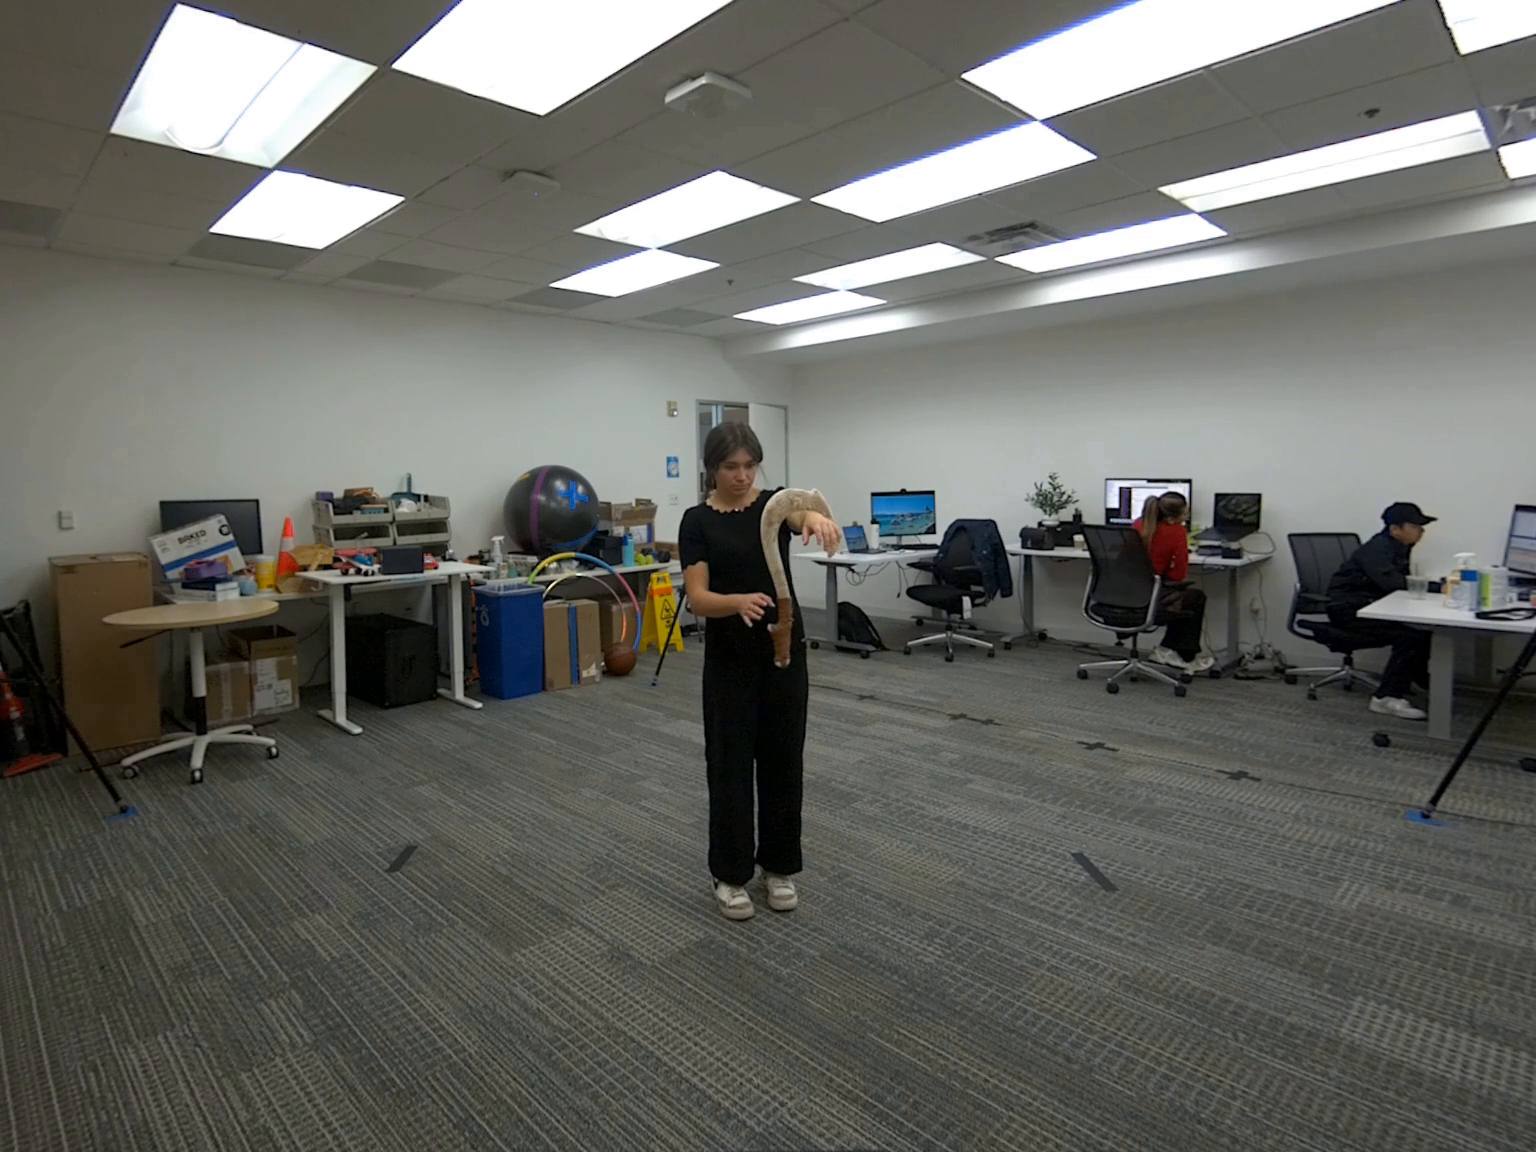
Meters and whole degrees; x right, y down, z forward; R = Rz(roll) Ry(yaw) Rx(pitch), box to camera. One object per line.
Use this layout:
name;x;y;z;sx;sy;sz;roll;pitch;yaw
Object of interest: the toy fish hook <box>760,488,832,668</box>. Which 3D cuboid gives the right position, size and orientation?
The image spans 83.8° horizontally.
toy fish hook;0.101;0.017;2.416;0.225;0.507;0.048;2;-1;1
